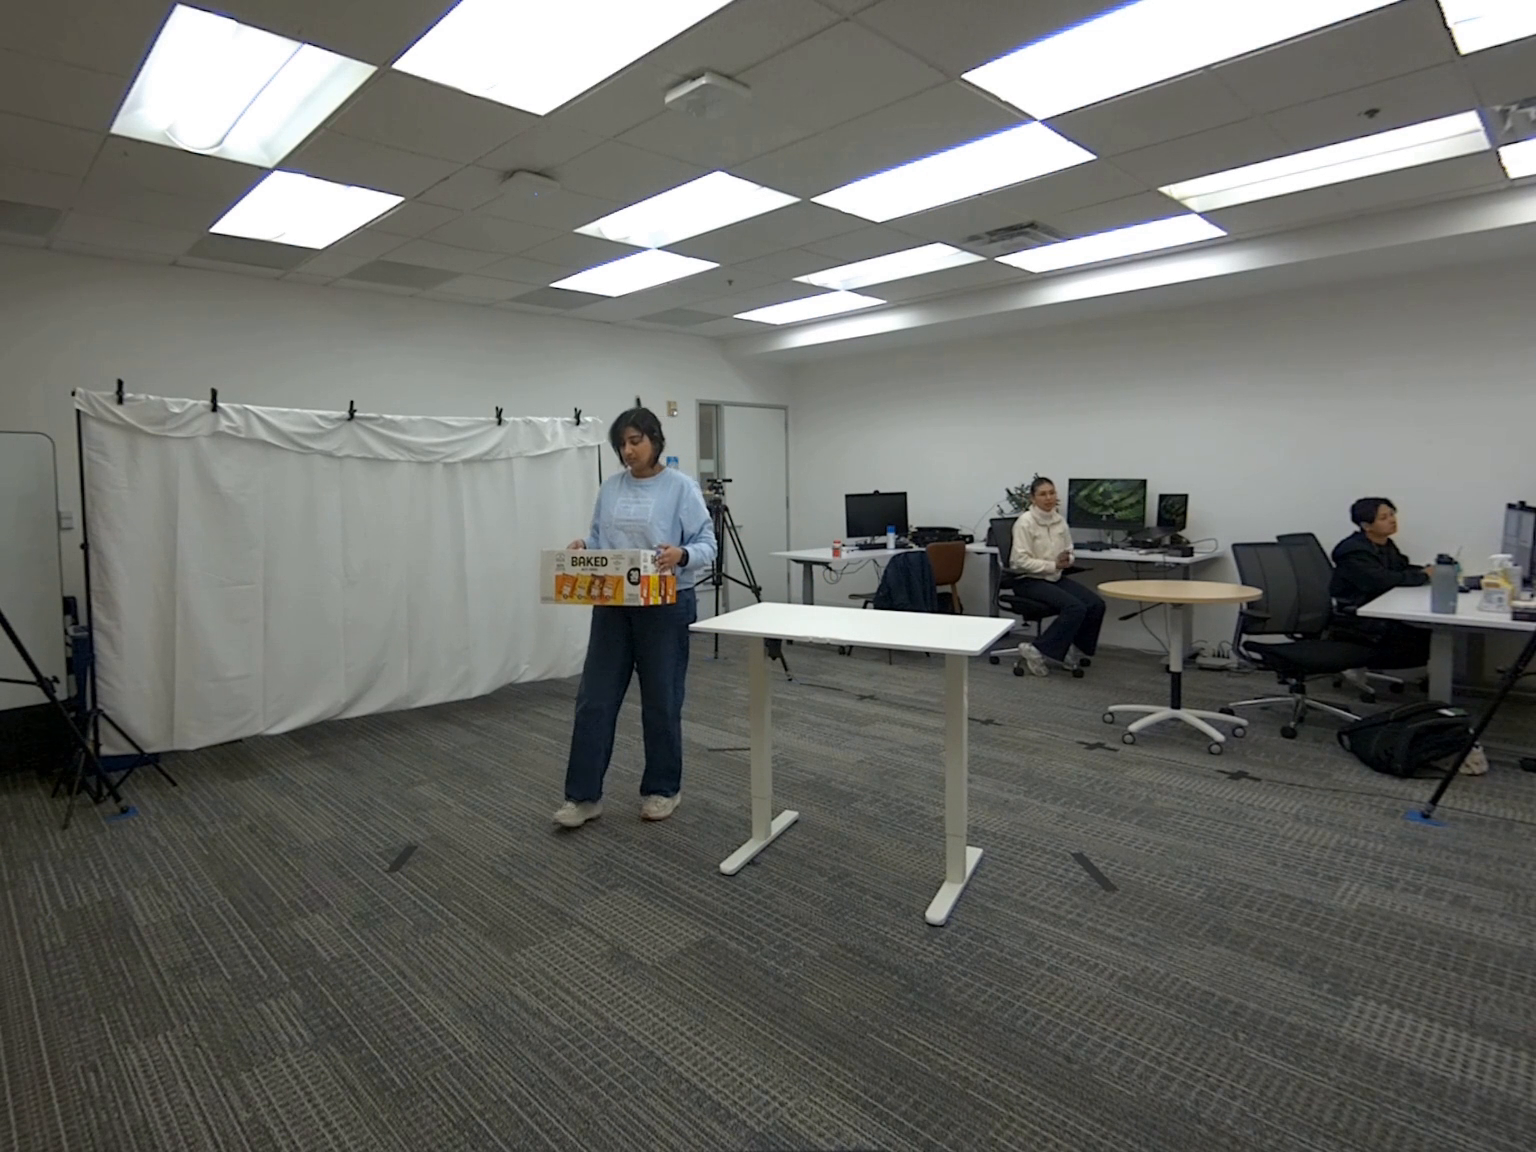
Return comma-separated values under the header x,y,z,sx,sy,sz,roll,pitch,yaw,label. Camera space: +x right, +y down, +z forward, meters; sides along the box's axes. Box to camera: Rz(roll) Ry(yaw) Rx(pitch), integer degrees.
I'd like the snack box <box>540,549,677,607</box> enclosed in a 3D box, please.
x,y,z,sx,sy,sz,roll,pitch,yaw,label
-0.609,0.007,3.255,0.412,0.206,0.334,1,-1,17,snack box
